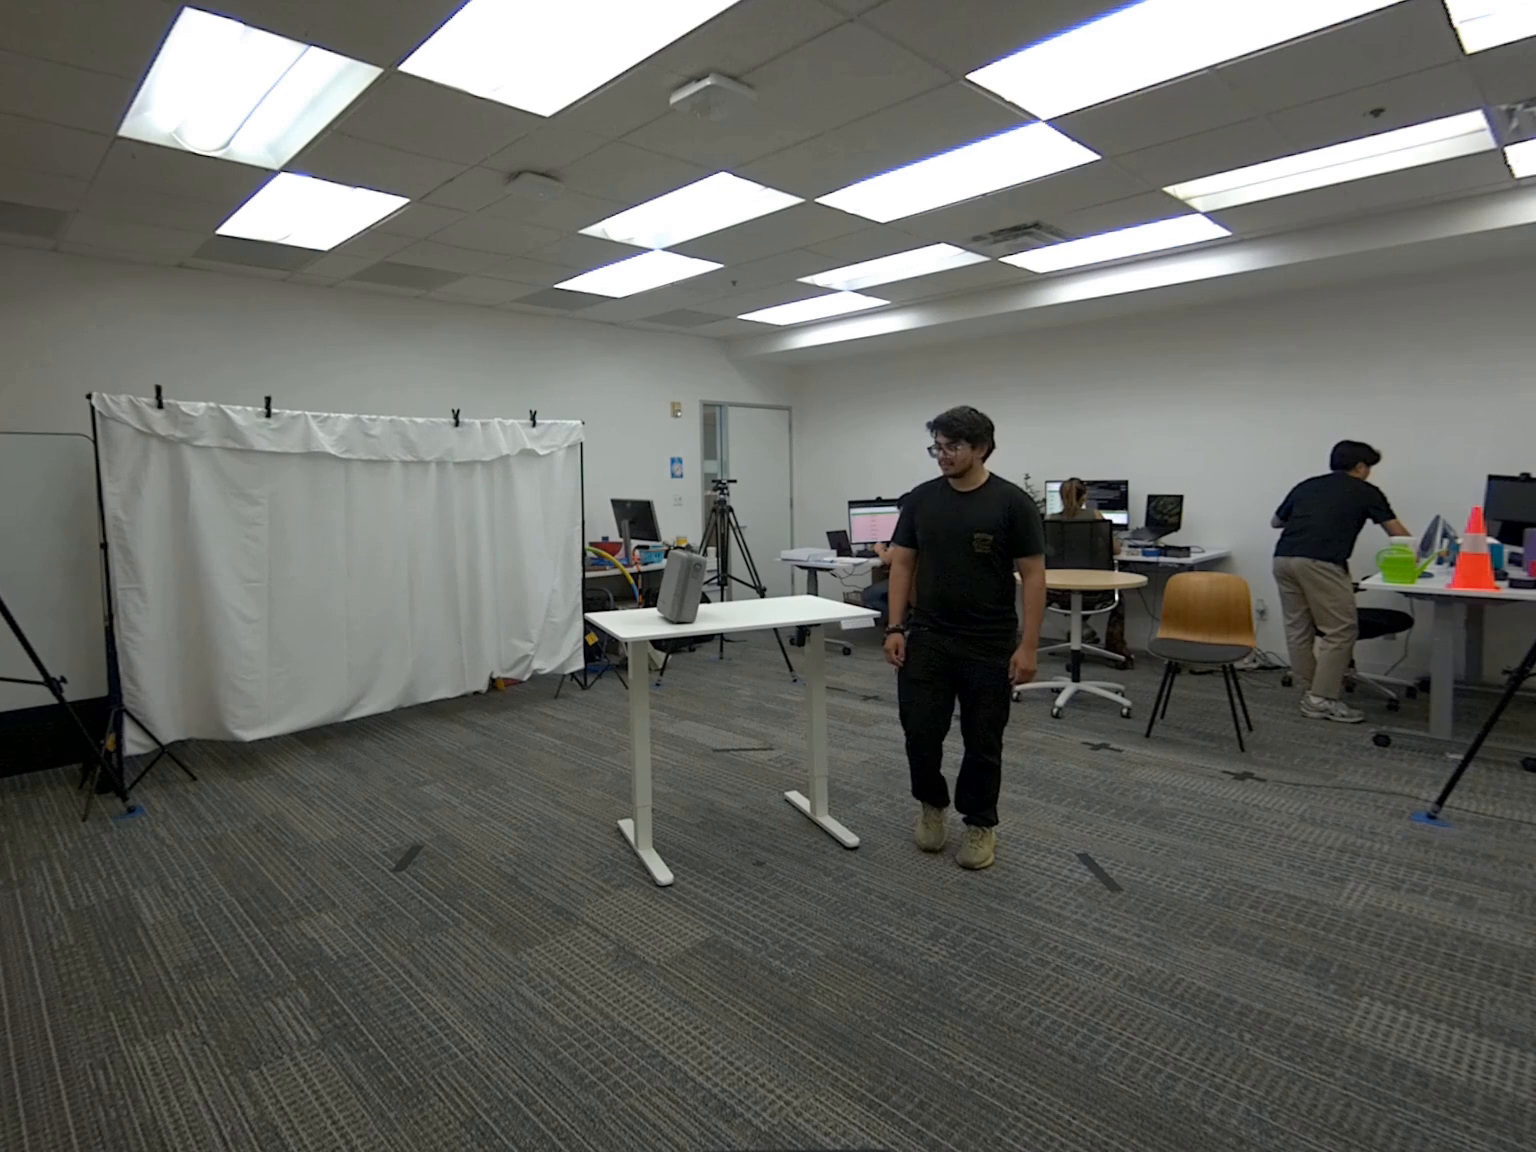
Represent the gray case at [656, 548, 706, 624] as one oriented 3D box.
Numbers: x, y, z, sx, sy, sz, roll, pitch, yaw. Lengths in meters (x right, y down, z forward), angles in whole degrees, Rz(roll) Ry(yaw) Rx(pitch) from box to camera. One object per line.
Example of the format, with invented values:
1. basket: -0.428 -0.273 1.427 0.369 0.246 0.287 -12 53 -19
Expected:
1. gray case: -0.320 0.034 3.177 0.102 0.260 0.262 8 2 -19
